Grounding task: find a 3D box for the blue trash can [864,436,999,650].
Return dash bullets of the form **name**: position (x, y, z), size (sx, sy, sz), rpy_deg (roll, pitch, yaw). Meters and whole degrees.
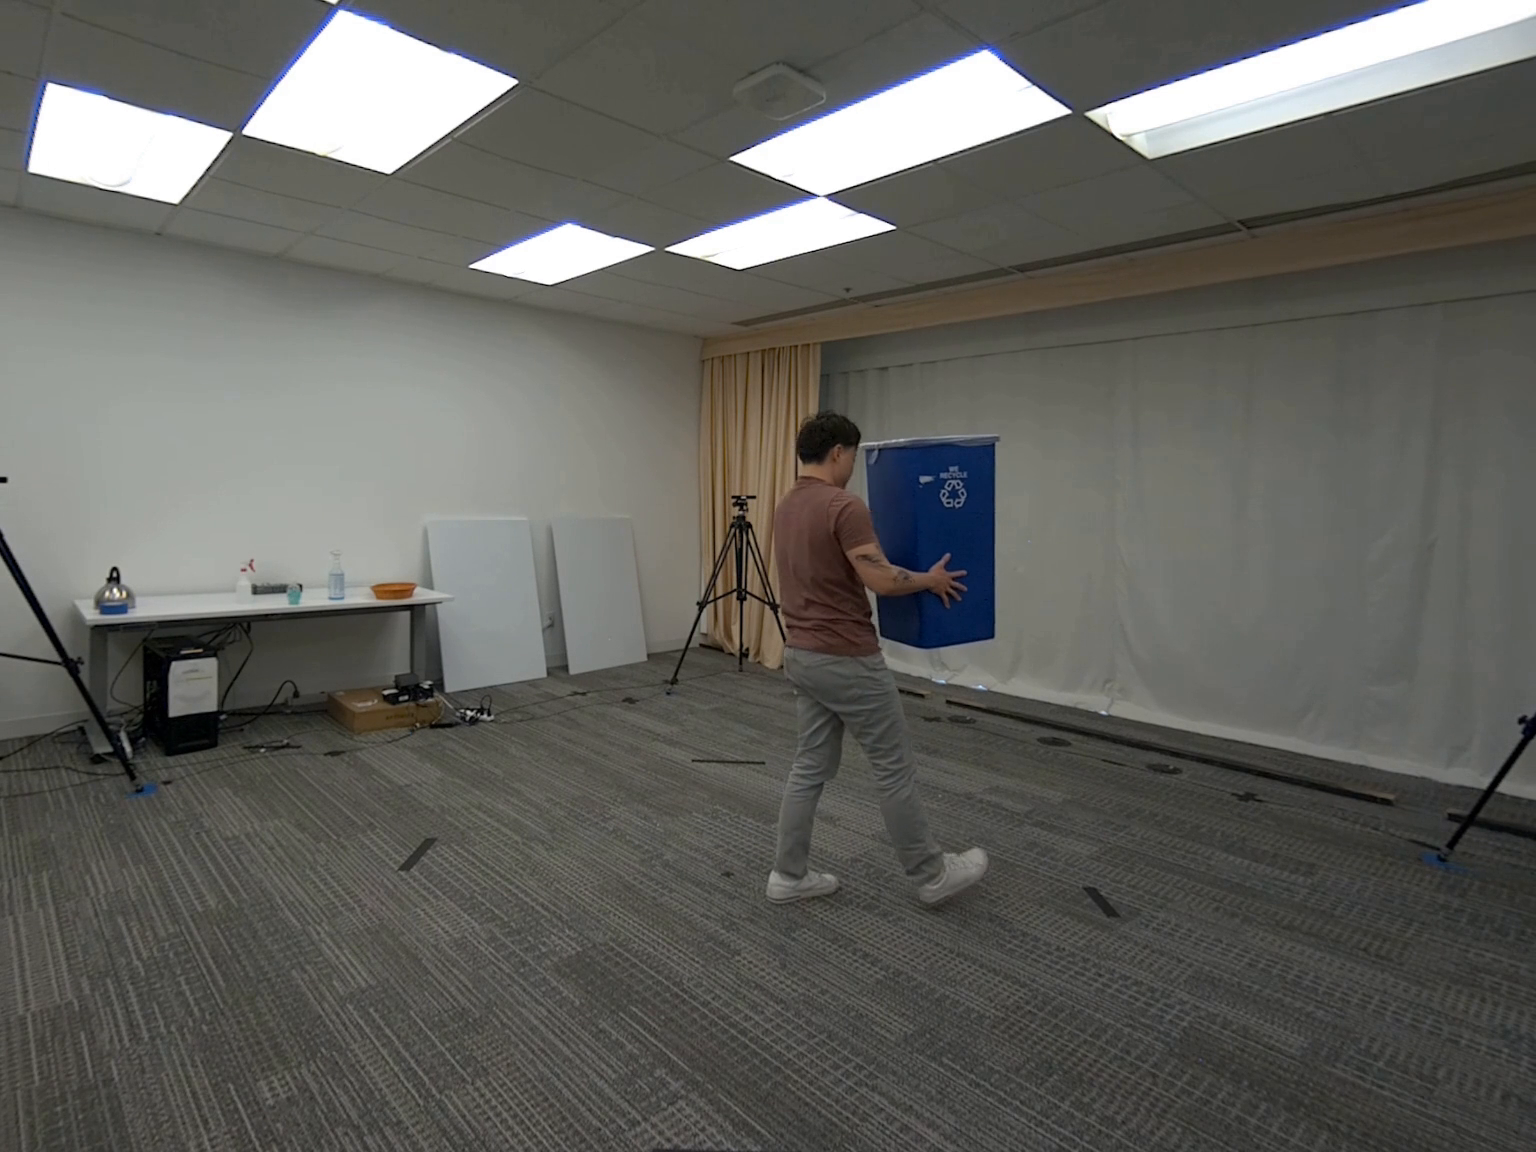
- **blue trash can**: position (0.583, -0.137, 3.016), size (0.369, 0.710, 0.385), rpy_deg (-6, 7, -21)
